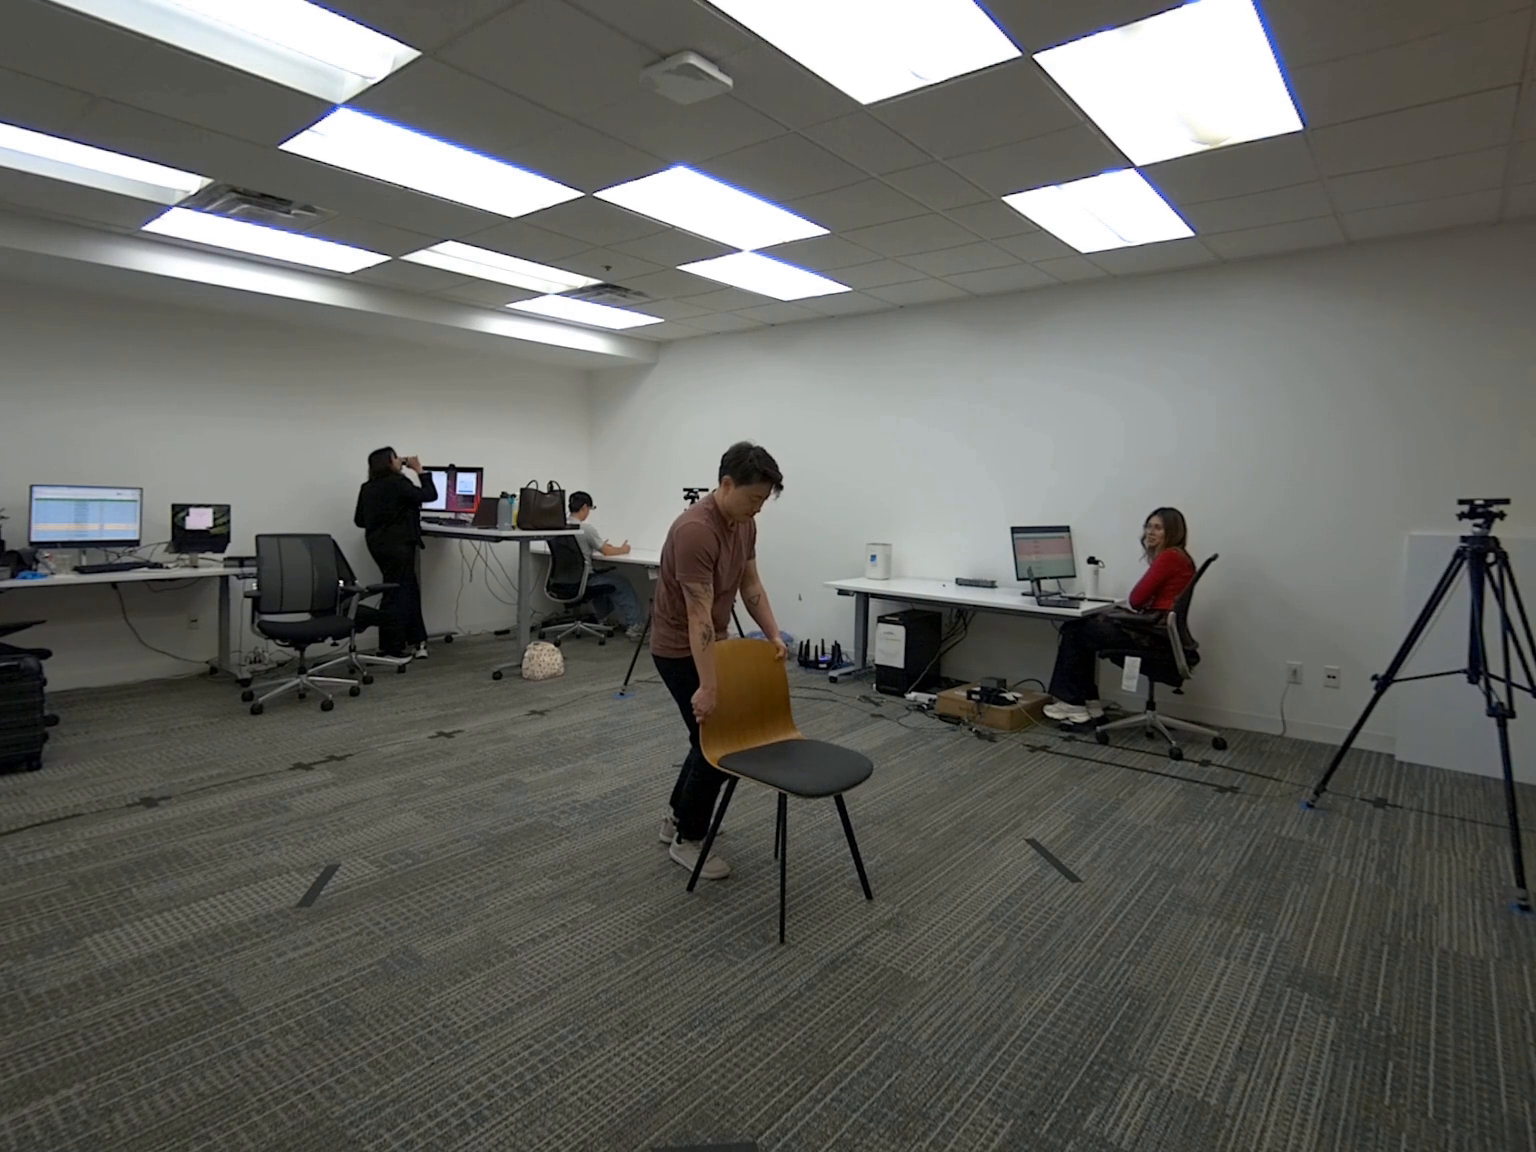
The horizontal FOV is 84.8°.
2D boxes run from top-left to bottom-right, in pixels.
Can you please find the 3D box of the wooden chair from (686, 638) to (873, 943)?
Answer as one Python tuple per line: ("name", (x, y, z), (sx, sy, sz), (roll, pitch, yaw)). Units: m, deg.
("wooden chair", (0.051, 0.669, 2.884), (0.463, 0.878, 0.539), (-1, 0, -44))
